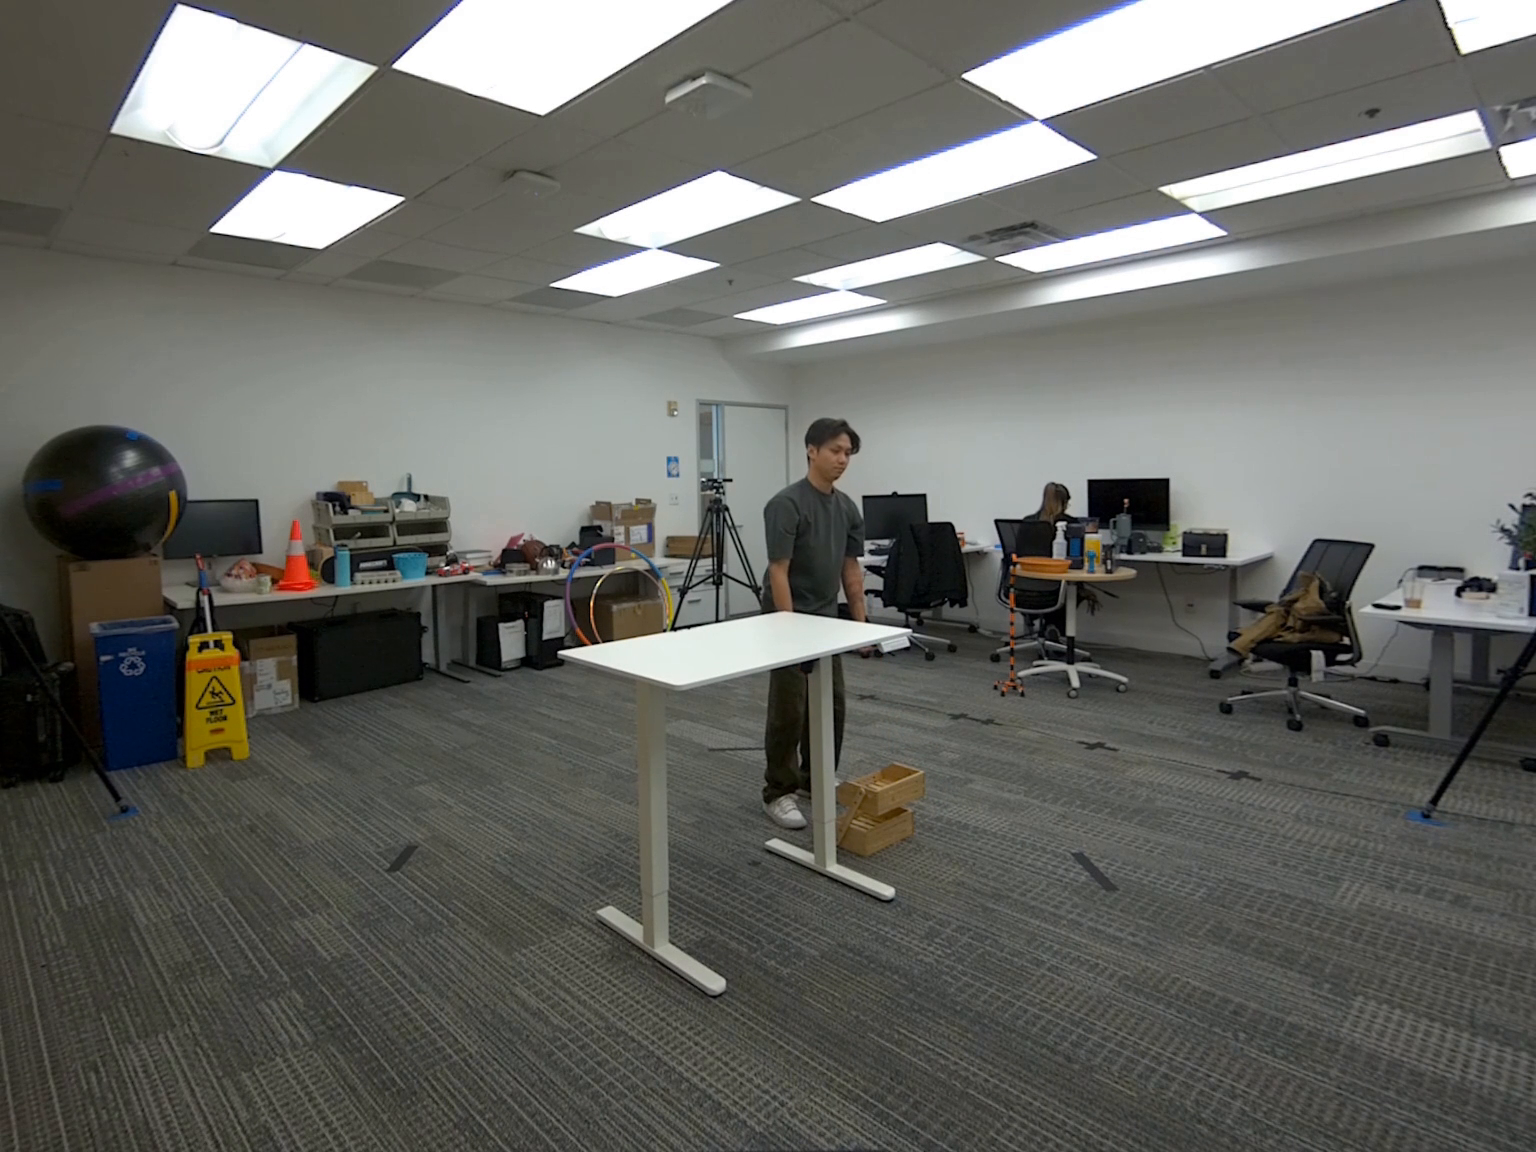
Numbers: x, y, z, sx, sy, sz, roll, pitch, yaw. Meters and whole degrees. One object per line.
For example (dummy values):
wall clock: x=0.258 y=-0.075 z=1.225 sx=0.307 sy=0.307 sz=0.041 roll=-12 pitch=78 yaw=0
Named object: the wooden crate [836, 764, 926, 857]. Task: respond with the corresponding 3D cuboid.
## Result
wooden crate: x=0.393 y=0.879 z=3.311 sx=0.316 sy=0.272 sz=0.311 roll=-5 pitch=7 yaw=-44
